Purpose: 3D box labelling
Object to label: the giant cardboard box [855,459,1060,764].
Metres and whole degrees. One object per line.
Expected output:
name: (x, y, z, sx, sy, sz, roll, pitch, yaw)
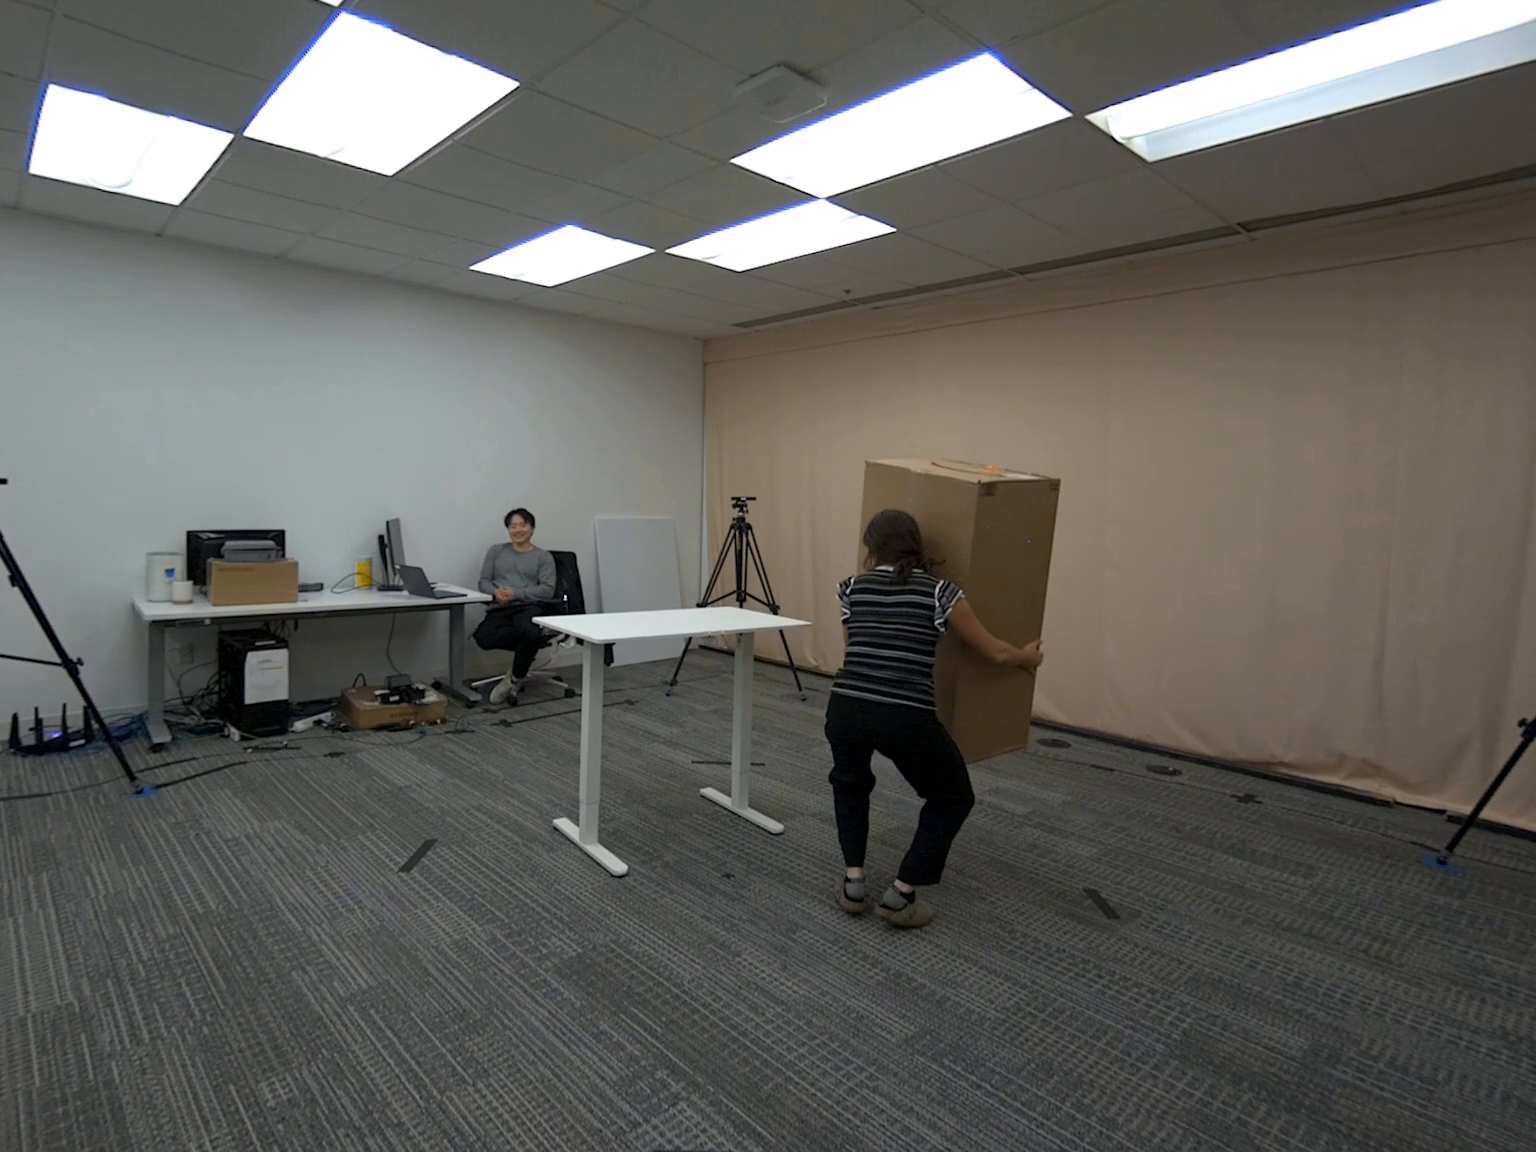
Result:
giant cardboard box: (0.672, 0.102, 3.193, 0.418, 1.017, 0.594, -5, 15, -34)
